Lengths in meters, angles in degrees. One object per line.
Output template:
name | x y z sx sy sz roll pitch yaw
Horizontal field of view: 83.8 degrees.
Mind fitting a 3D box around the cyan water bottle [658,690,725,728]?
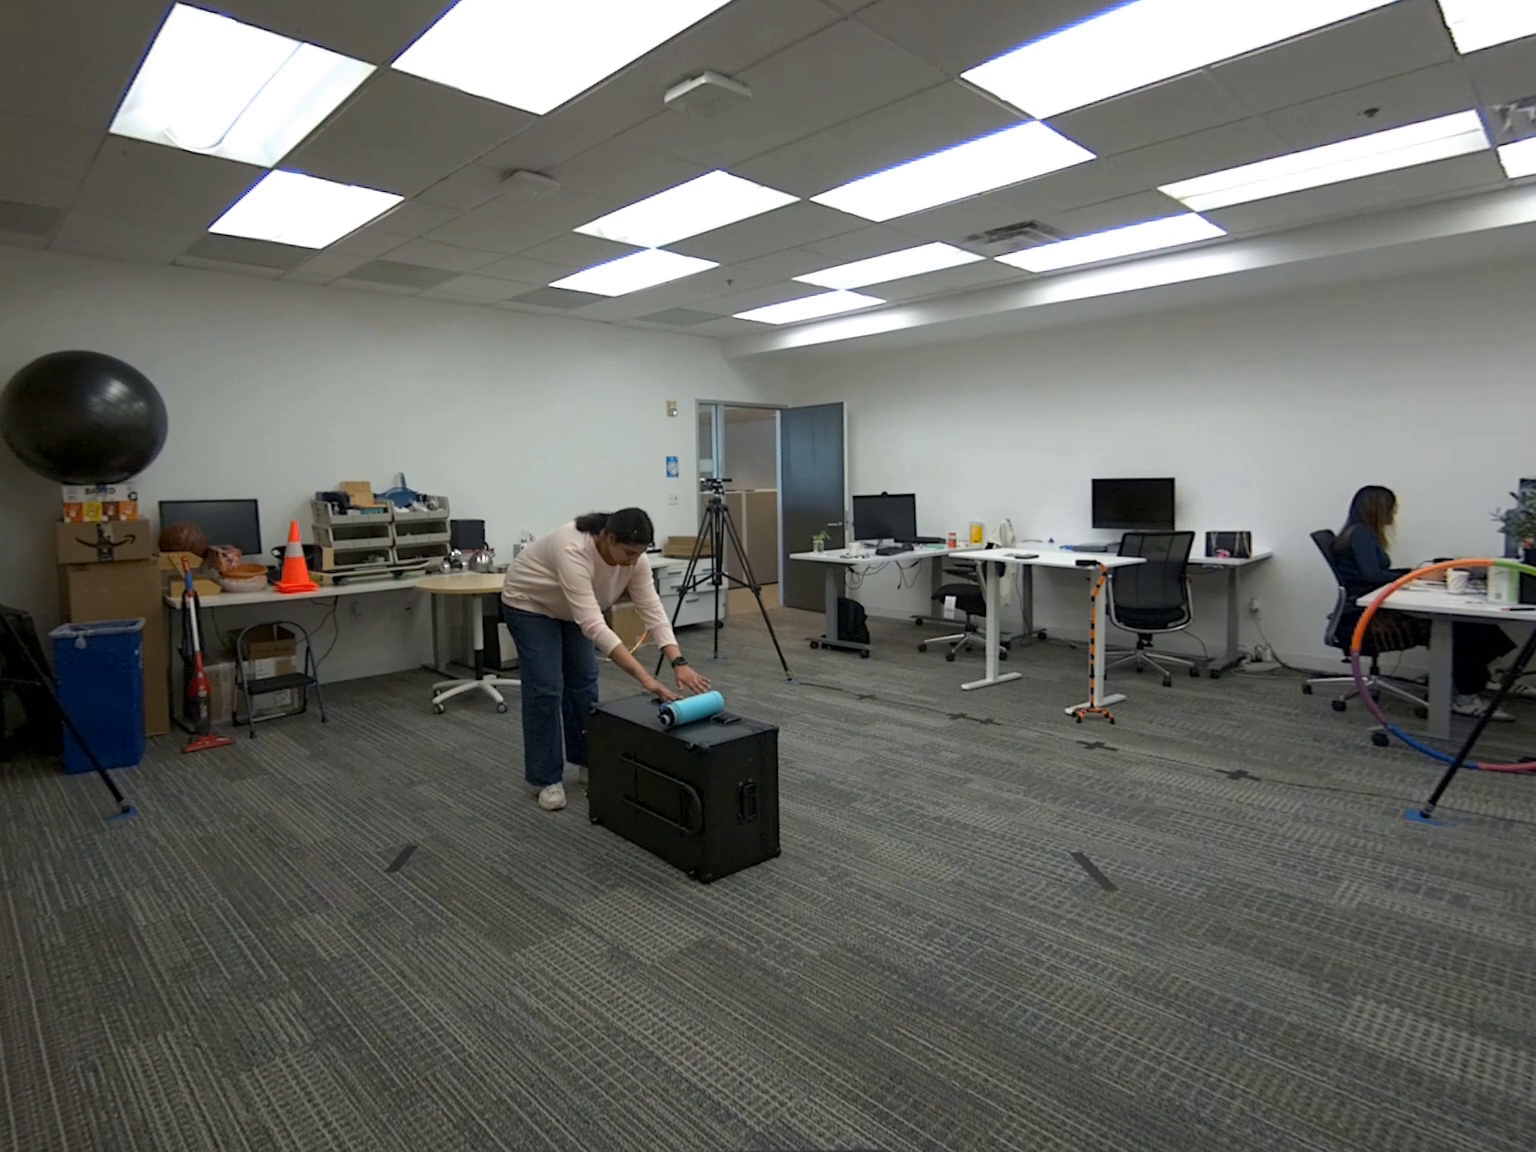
cyan water bottle | -0.297 0.502 3.236 0.095 0.092 0.276 4 9 45
